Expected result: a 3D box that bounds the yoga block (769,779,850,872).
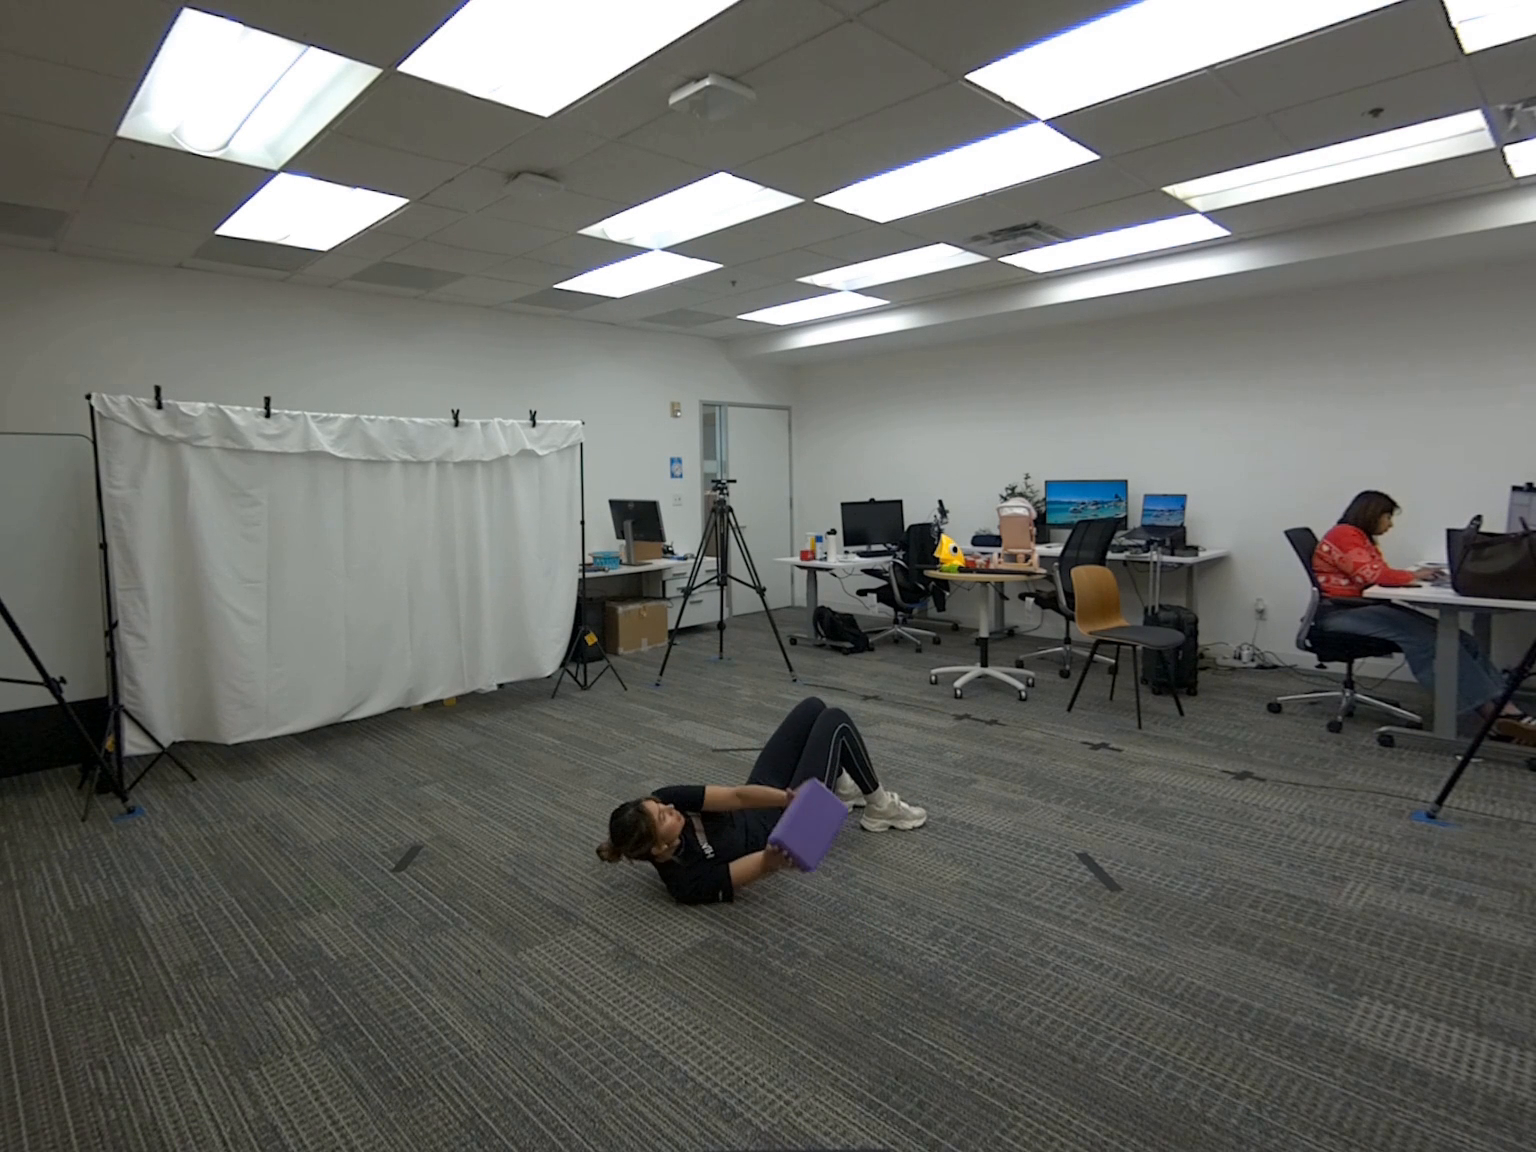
[{"bbox_3d":[0.116,0.744,2.551,0.229,0.149,0.076,-47,0,-26],"label":"yoga block"}]
